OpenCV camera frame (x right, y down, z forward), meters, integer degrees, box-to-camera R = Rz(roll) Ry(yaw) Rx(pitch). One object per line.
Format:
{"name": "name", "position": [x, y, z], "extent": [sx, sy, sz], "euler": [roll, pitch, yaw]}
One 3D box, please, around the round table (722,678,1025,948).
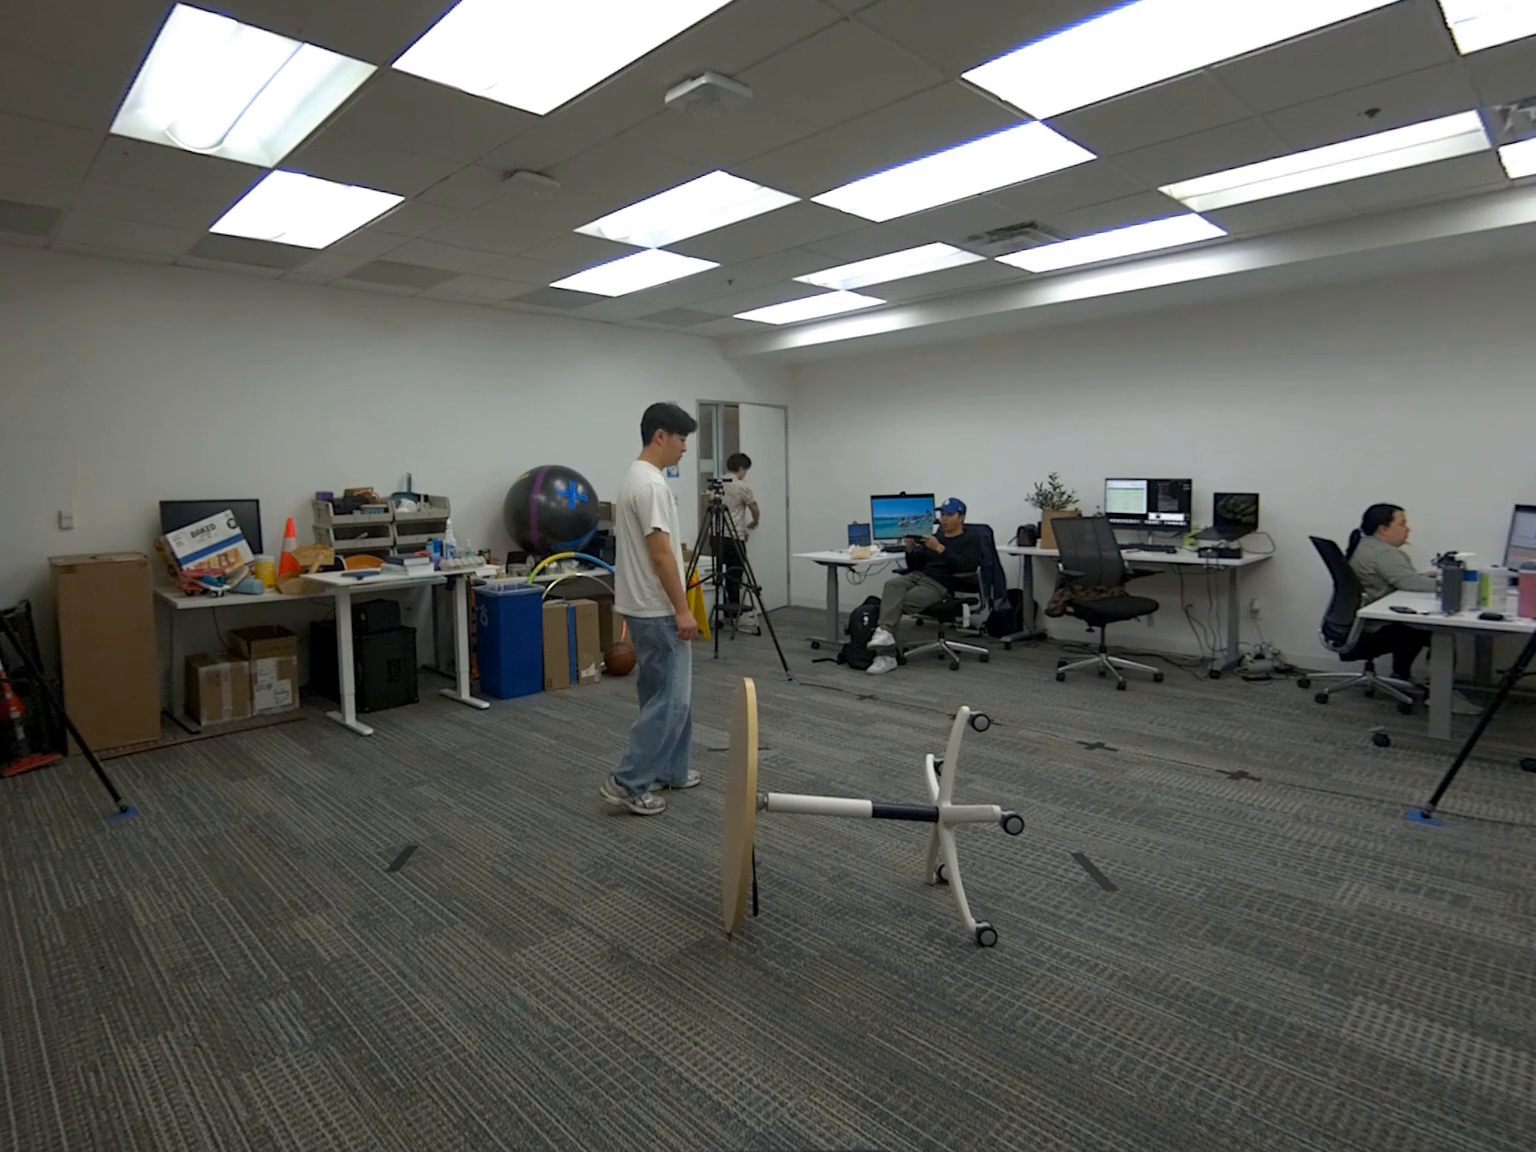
{"name": "round table", "position": [0.289, 0.738, 2.733], "extent": [0.782, 0.783, 0.792], "euler": [4, 4, -6]}
